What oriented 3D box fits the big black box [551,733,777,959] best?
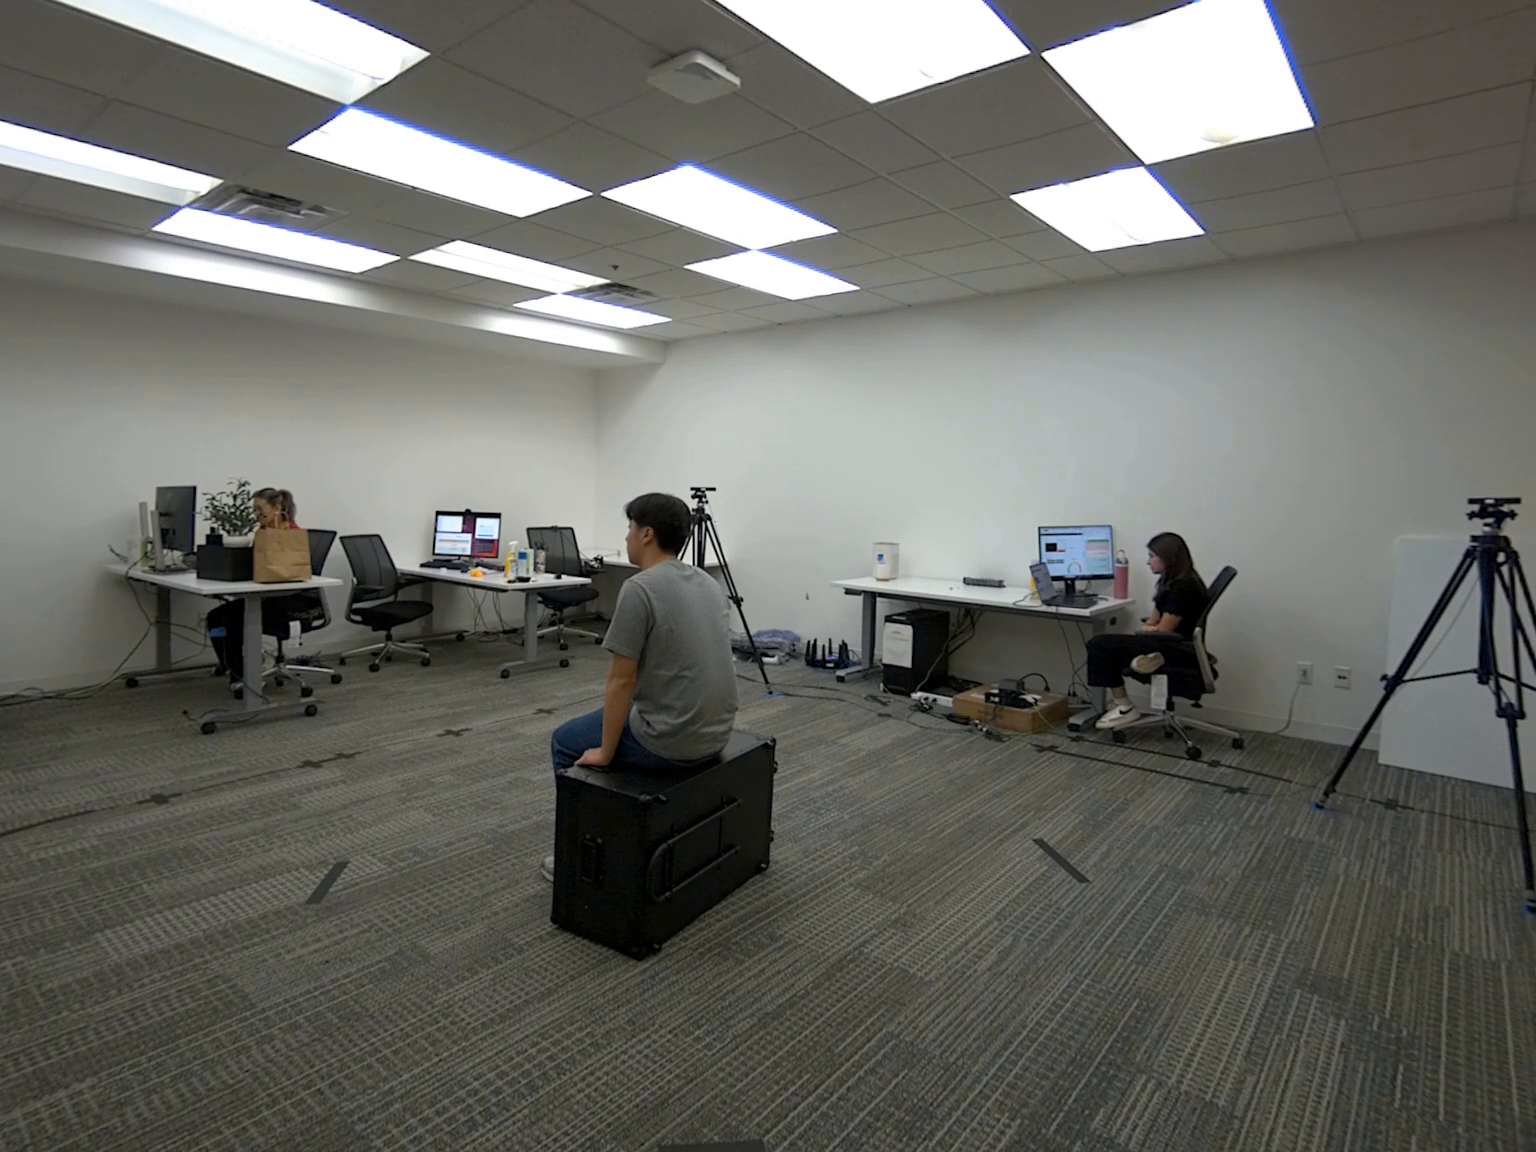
[{"bbox_3d":[-0.310,0.831,2.908,0.408,0.519,0.840,5,6,29],"label":"big black box"}]
